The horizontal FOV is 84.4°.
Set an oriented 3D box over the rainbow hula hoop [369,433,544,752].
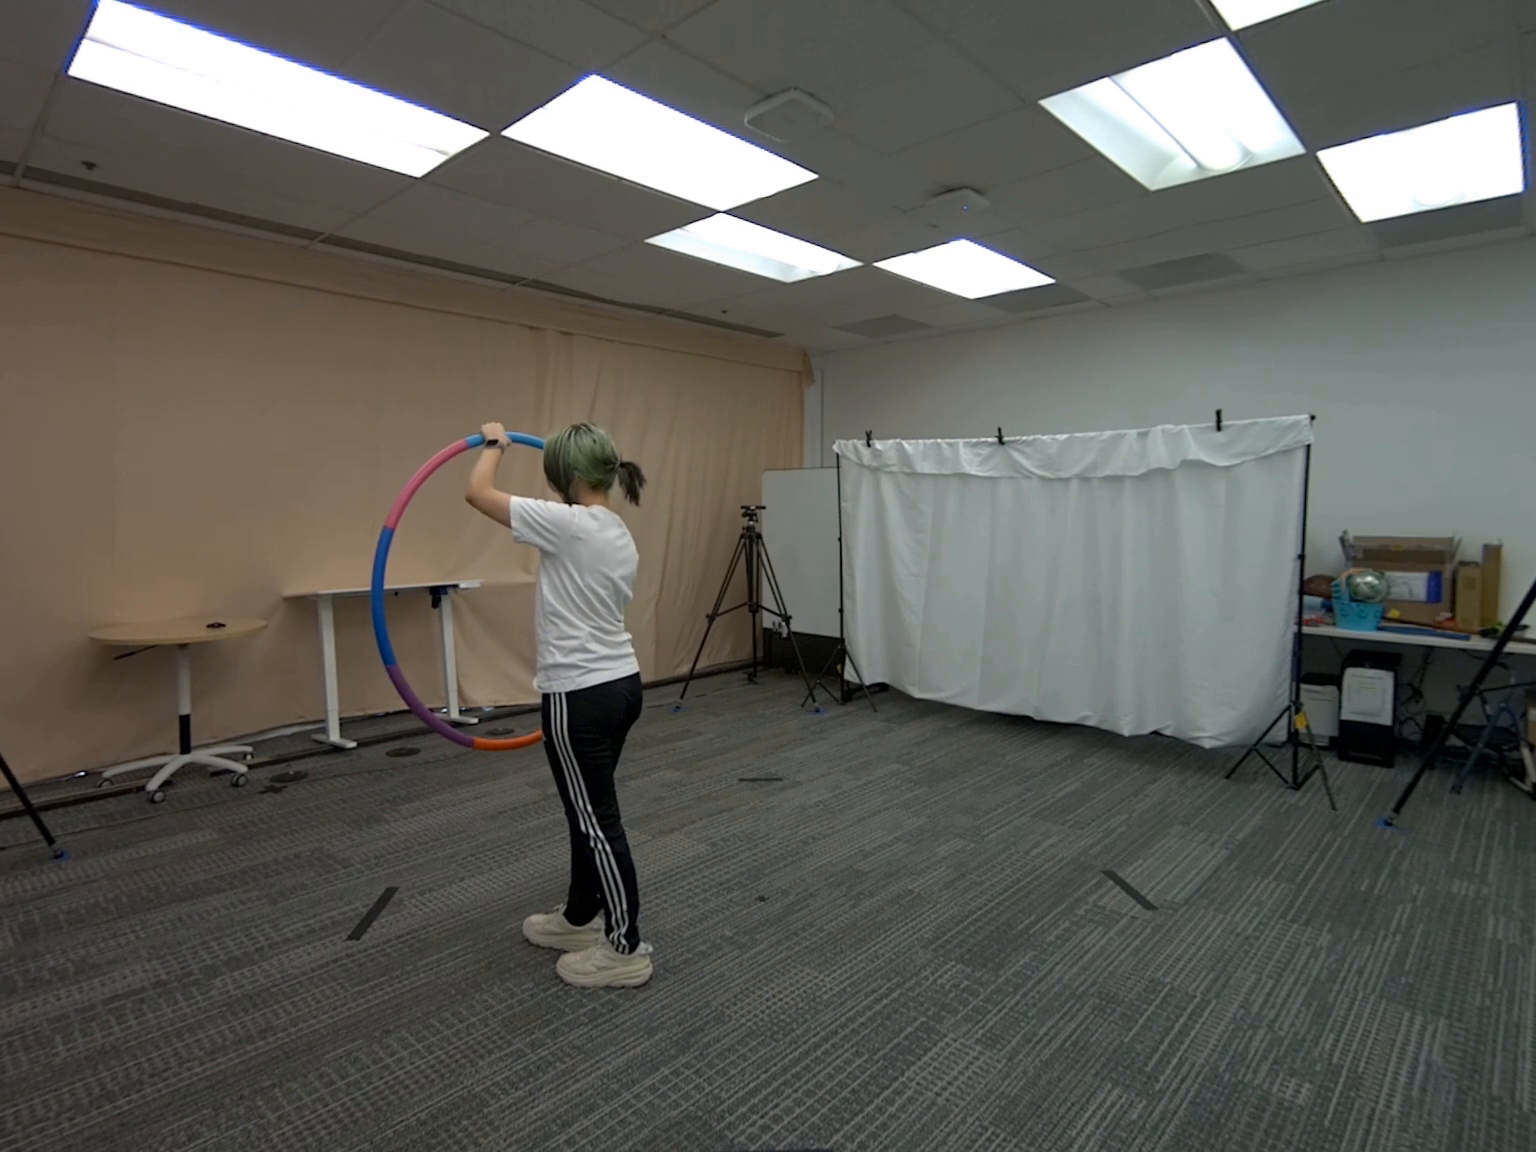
[{"bbox_3d":[-0.795,0.043,2.647,0.036,0.978,0.950,-2,2,37],"label":"rainbow hula hoop"}]
